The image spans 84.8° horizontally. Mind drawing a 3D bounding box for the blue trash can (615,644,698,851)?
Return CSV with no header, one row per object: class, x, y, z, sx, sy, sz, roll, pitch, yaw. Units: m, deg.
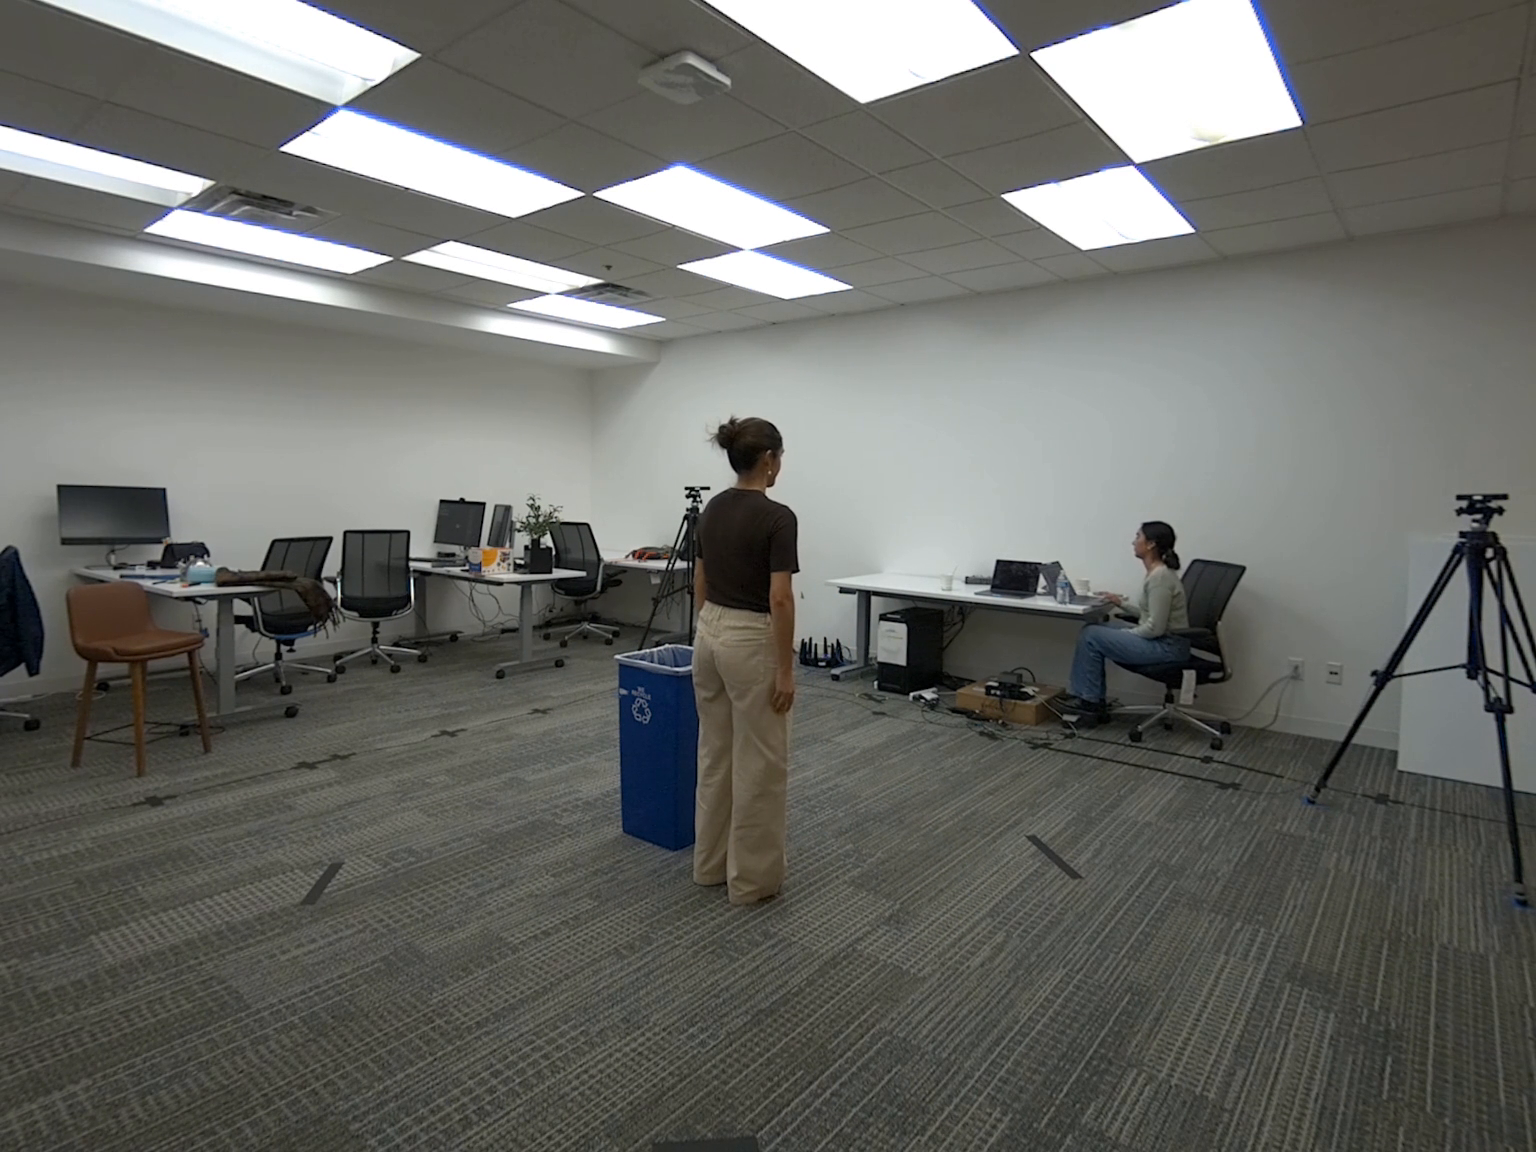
blue trash can,-0.382,0.673,3.430,0.386,0.711,0.367,3,4,38
